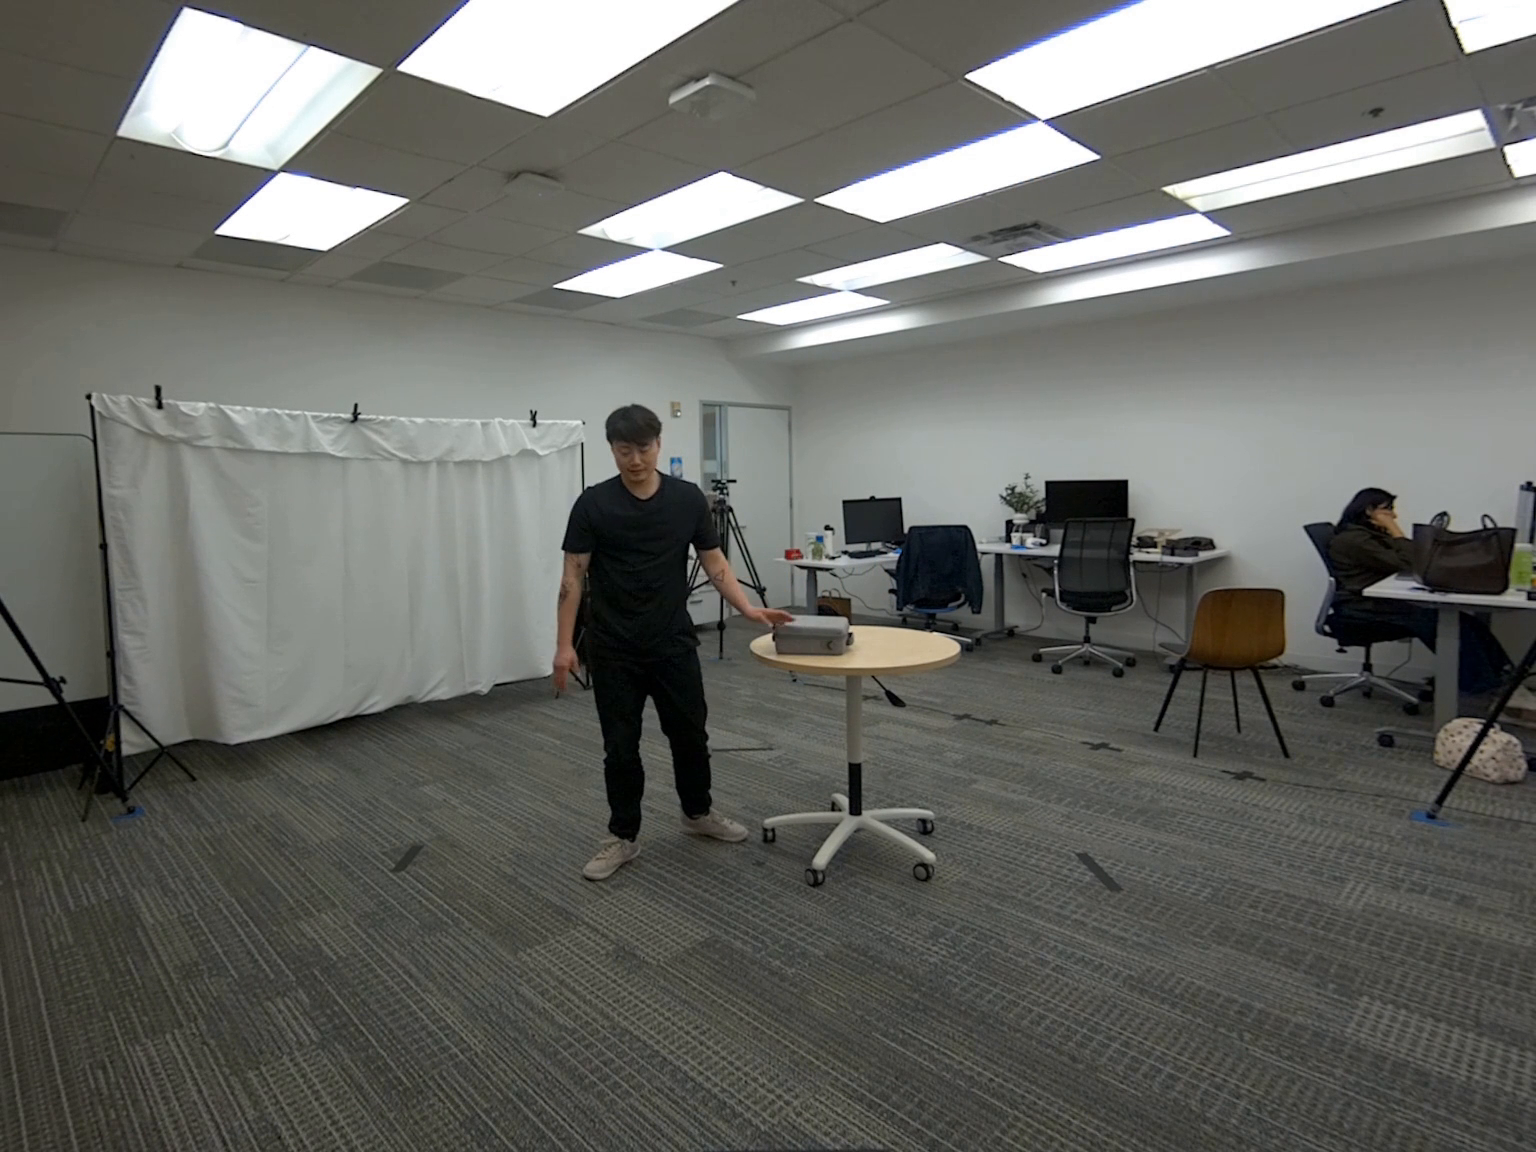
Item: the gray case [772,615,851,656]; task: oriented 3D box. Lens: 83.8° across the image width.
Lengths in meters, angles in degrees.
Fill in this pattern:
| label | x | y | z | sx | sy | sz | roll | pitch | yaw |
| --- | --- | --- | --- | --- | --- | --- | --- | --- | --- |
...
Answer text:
| label | x | y | z | sx | sy | sz | roll | pitch | yaw |
| --- | --- | --- | --- | --- | --- | --- | --- | --- | --- |
| gray case | 0.166 | 0.210 | 3.098 | 0.264 | 0.104 | 0.255 | 1 | 6 | 11 |
